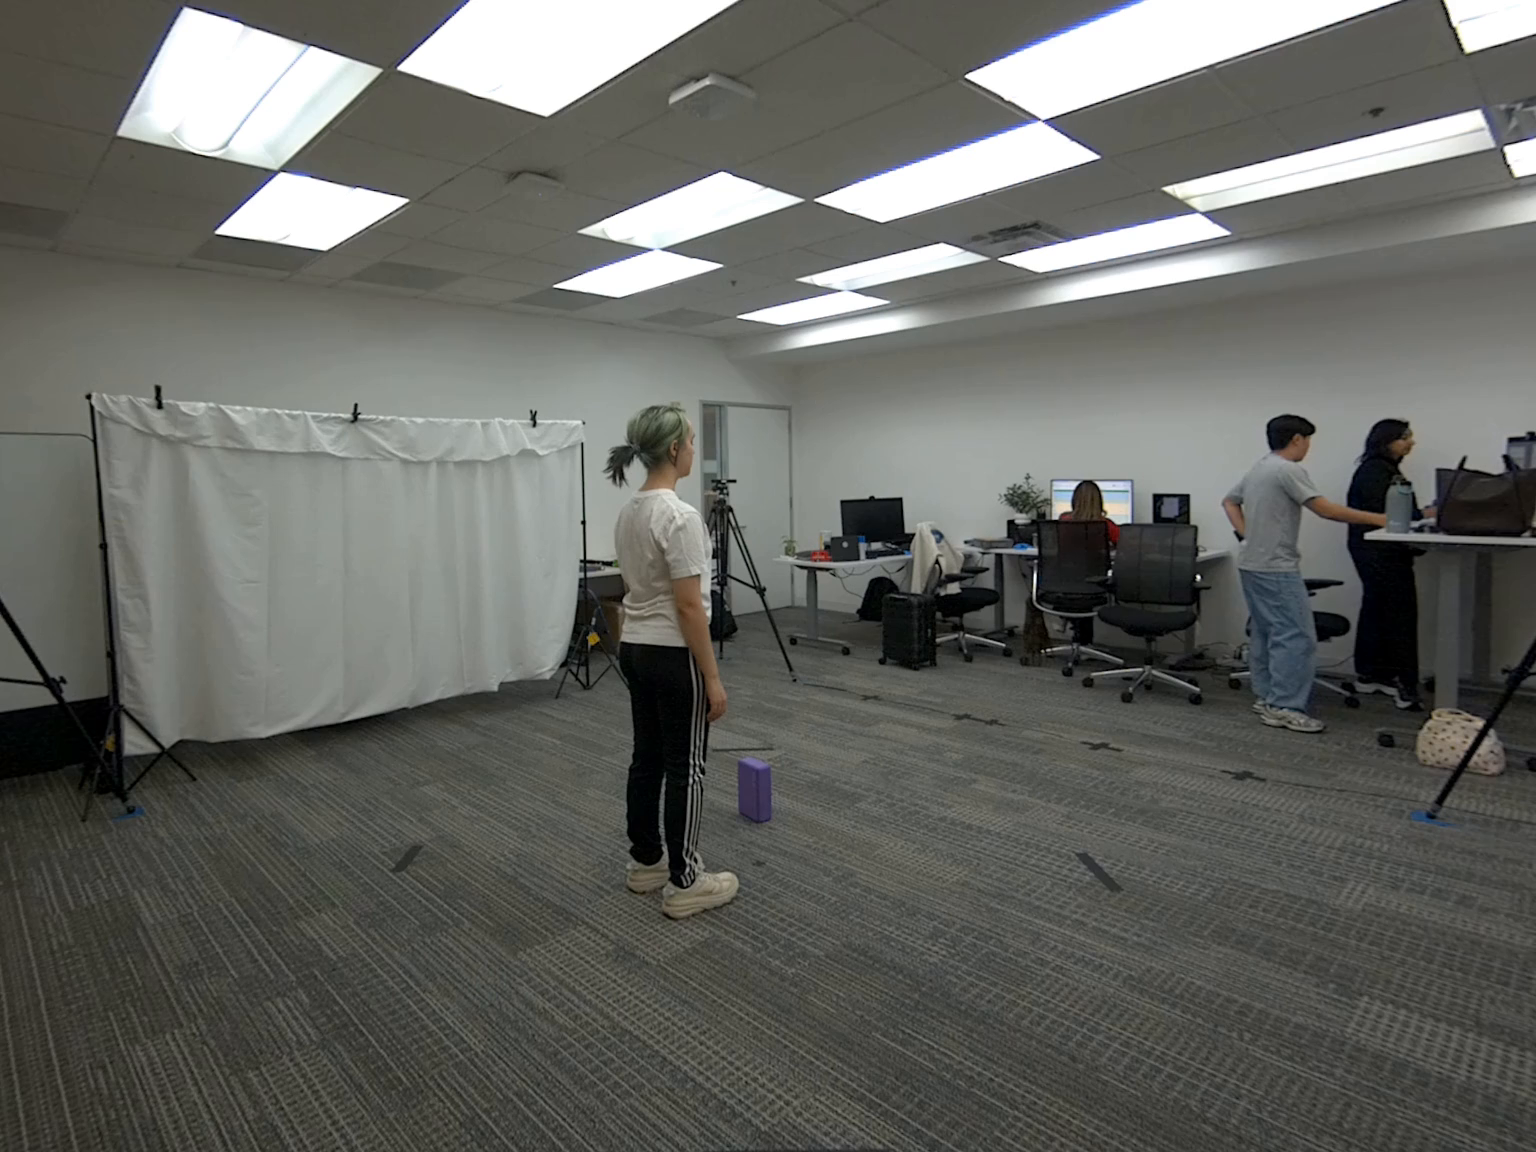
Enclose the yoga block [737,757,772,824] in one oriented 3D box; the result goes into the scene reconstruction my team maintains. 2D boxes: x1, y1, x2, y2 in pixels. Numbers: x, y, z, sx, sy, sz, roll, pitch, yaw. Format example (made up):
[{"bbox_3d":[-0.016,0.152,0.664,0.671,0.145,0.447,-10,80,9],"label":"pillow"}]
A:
[{"bbox_3d":[-0.056,0.881,3.541,0.074,0.228,0.153,-4,5,-36],"label":"yoga block"}]
